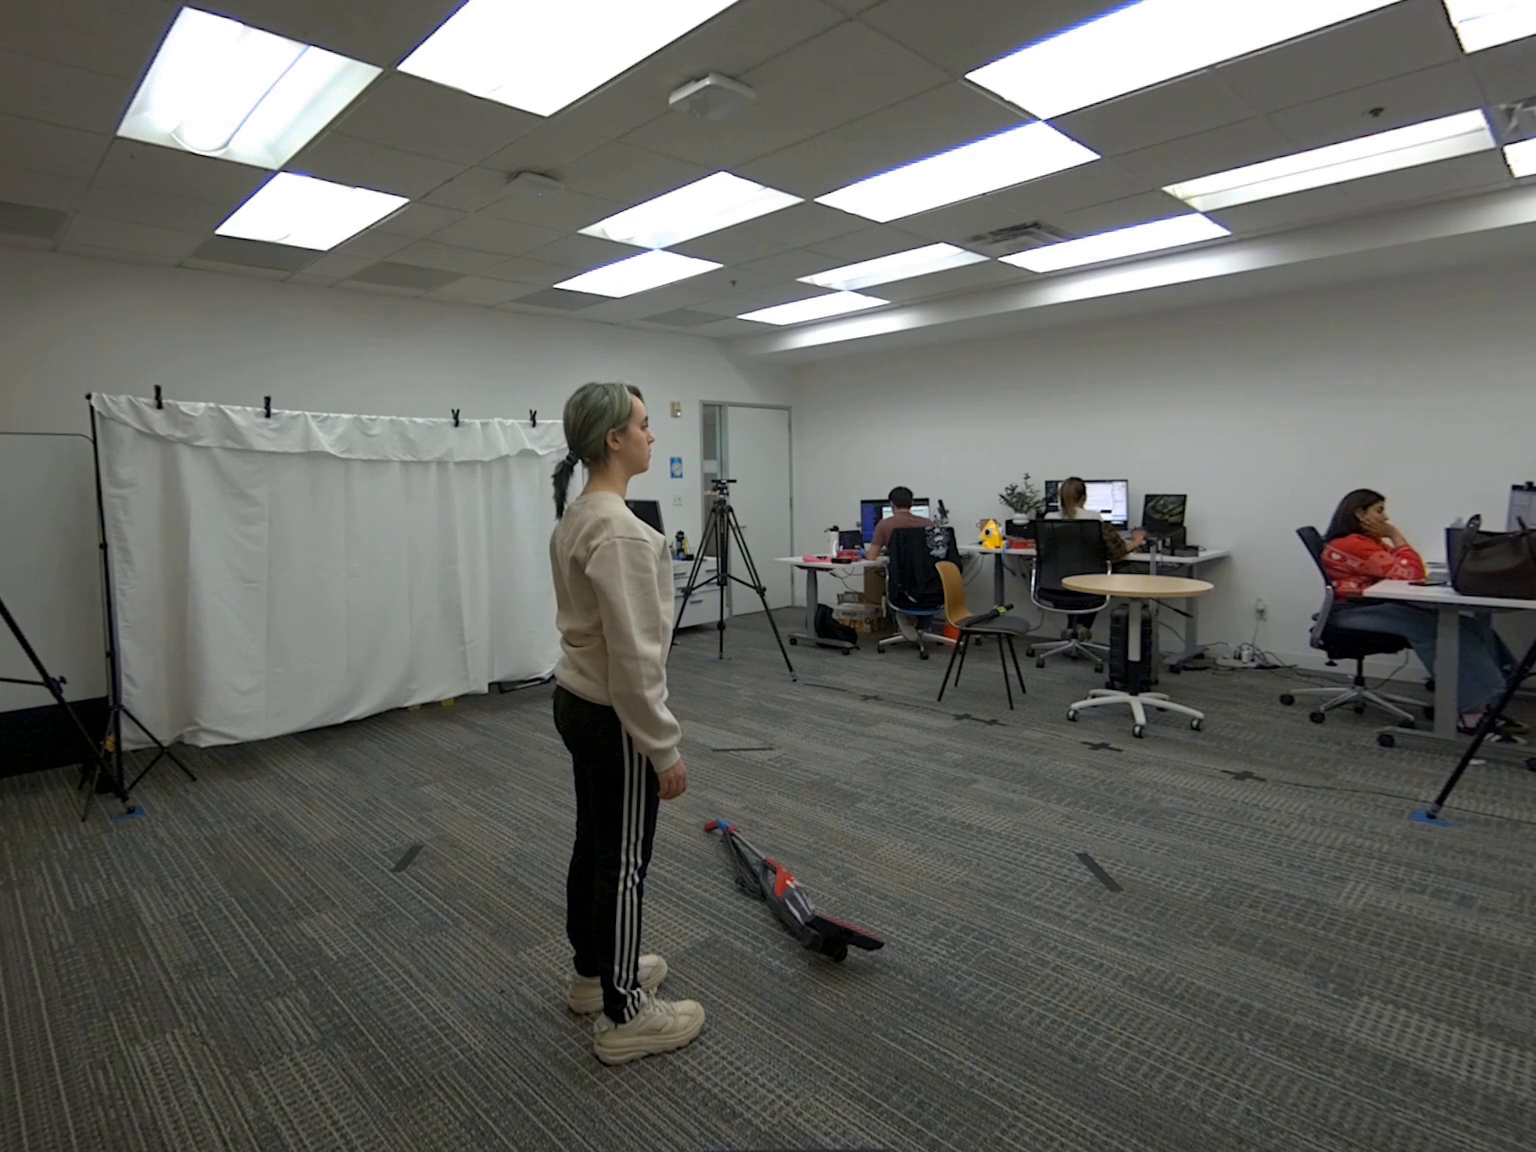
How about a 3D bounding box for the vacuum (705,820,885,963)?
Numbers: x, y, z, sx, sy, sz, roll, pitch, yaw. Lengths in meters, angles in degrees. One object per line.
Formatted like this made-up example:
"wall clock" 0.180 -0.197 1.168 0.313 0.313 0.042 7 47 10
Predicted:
"vacuum" -0.021 1.020 2.916 0.246 0.144 1.070 32 -11 -21
